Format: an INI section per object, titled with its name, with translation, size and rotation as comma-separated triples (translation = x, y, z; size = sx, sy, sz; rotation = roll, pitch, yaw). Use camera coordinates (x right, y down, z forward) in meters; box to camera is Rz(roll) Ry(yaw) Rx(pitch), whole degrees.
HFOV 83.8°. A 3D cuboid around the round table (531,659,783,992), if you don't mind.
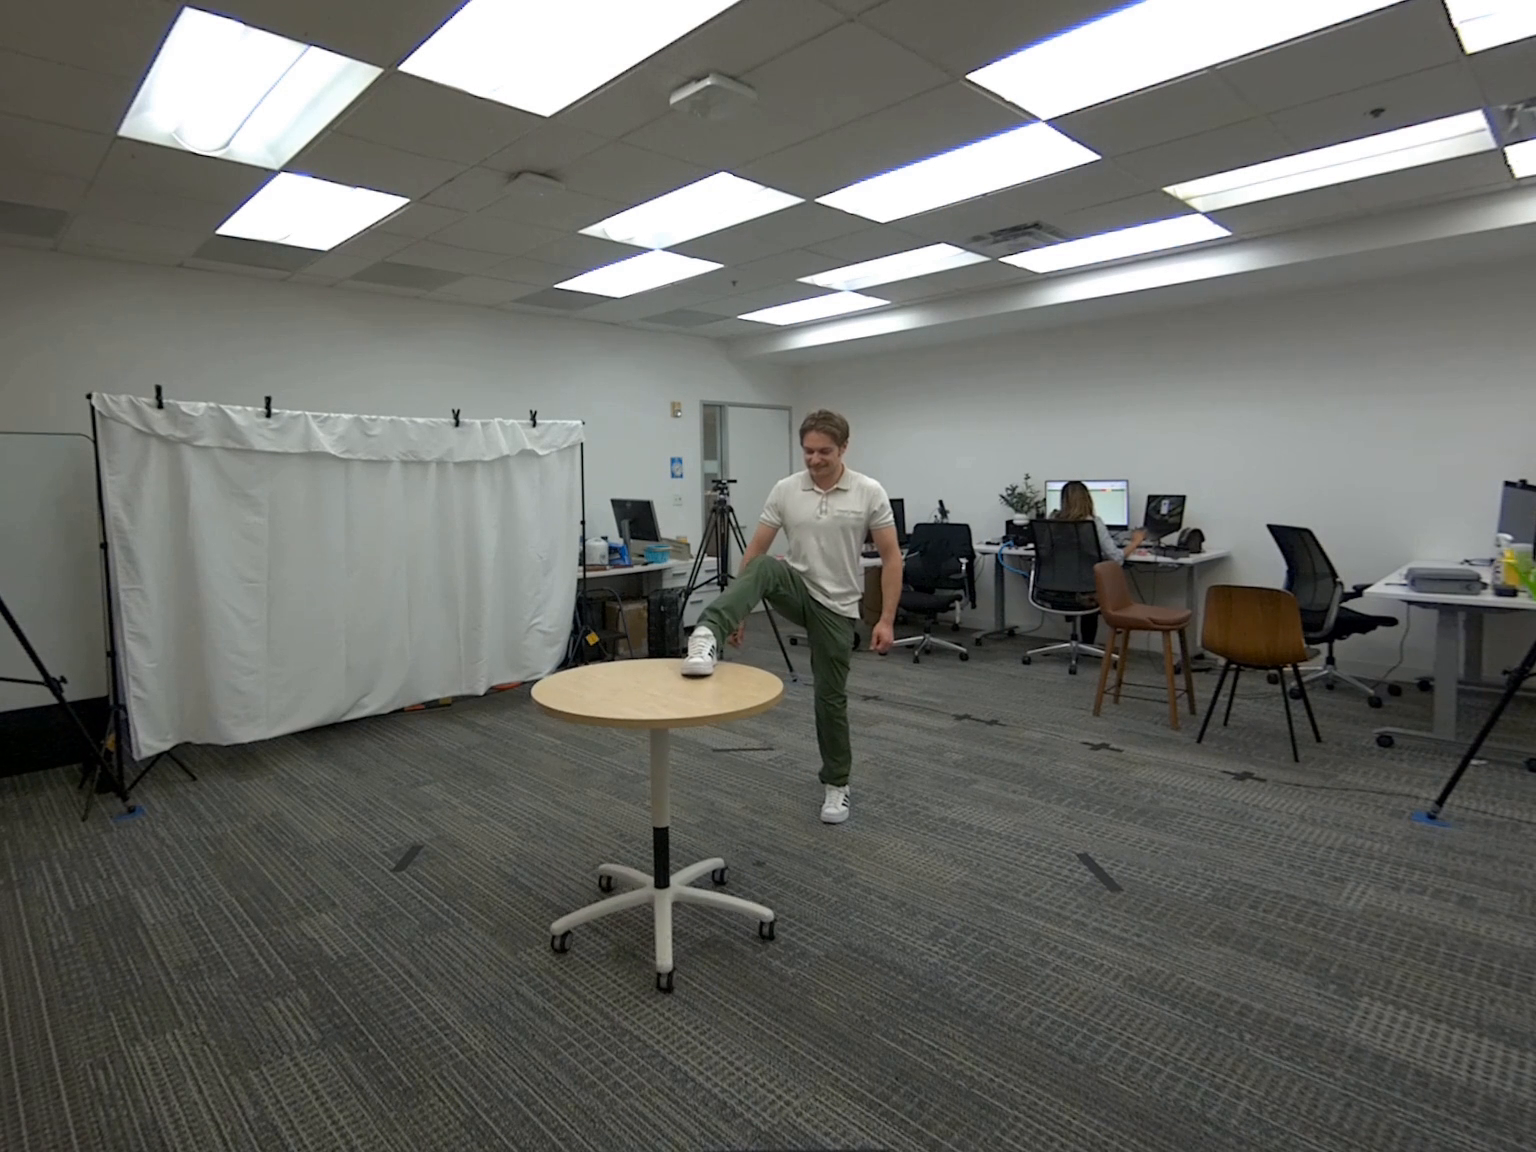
[round table]
translation = -0.330, 0.721, 2.652
size = 0.763, 0.791, 0.768
rotation = -1, 5, -2
